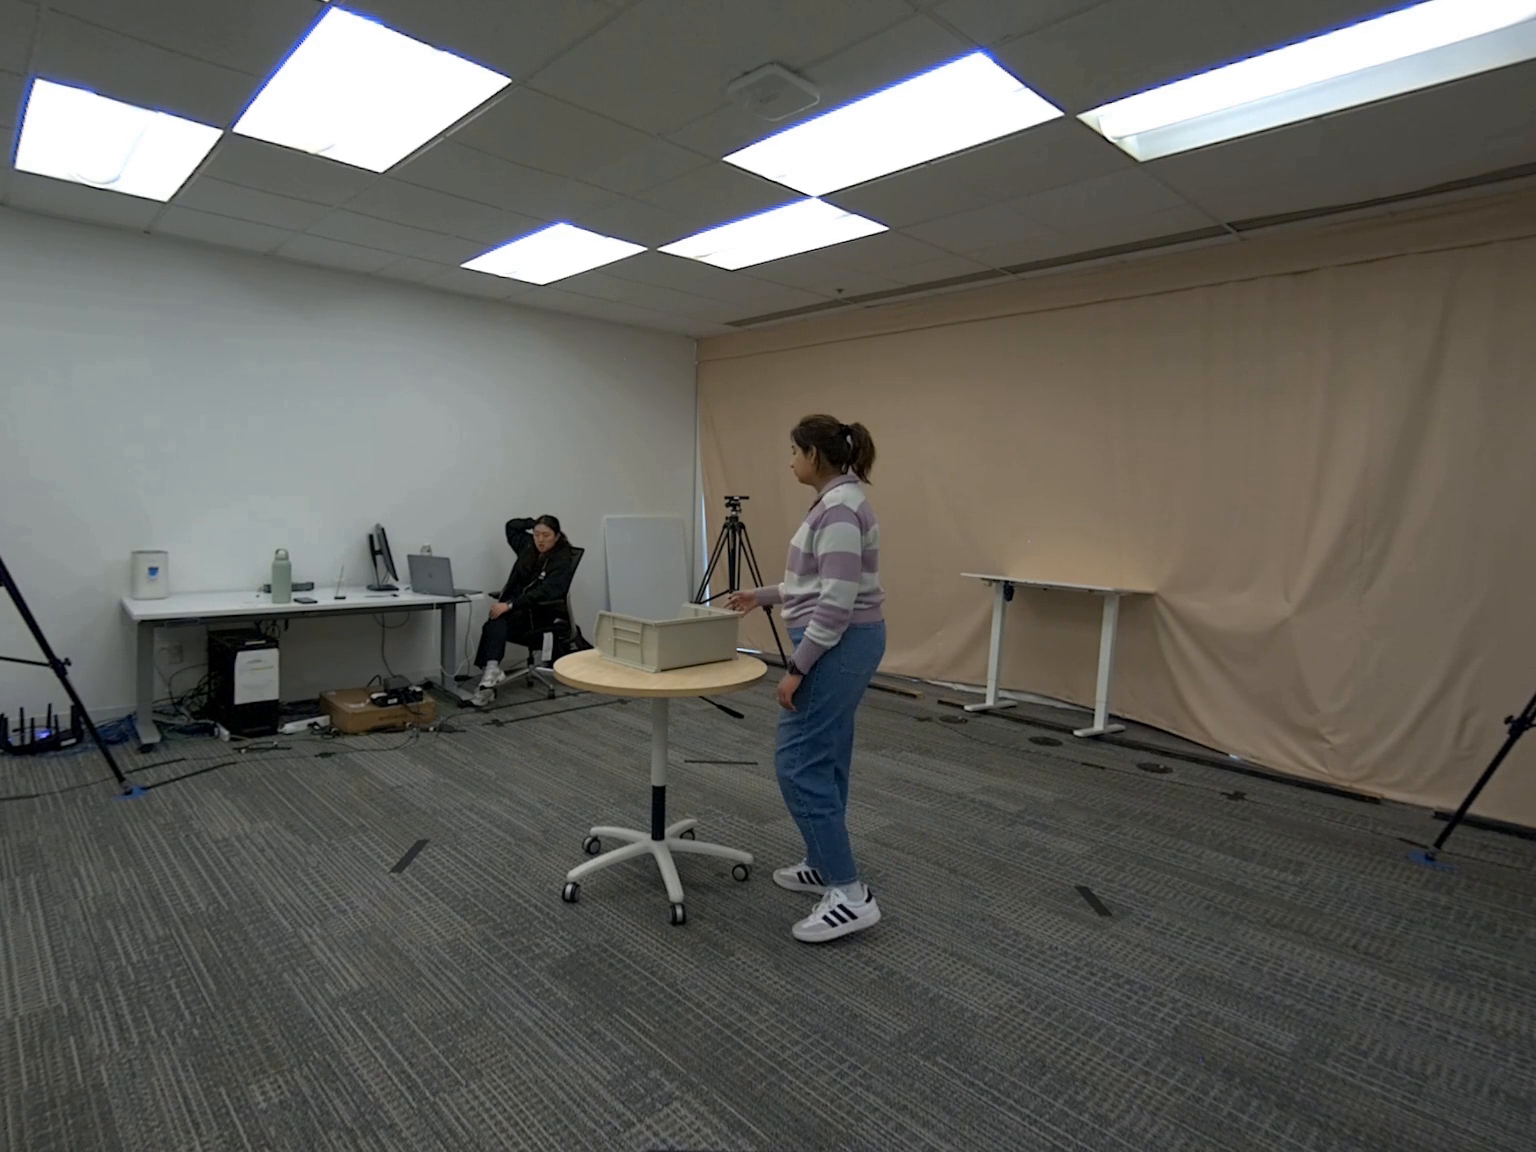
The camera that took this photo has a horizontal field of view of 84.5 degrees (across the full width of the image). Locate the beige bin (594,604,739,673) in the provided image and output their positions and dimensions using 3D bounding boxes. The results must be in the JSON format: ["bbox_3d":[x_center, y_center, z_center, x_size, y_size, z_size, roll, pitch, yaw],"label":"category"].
[{"bbox_3d":[-0.379,0.217,3.148,0.412,0.188,0.387,-1,7,-44],"label":"beige bin"}]
